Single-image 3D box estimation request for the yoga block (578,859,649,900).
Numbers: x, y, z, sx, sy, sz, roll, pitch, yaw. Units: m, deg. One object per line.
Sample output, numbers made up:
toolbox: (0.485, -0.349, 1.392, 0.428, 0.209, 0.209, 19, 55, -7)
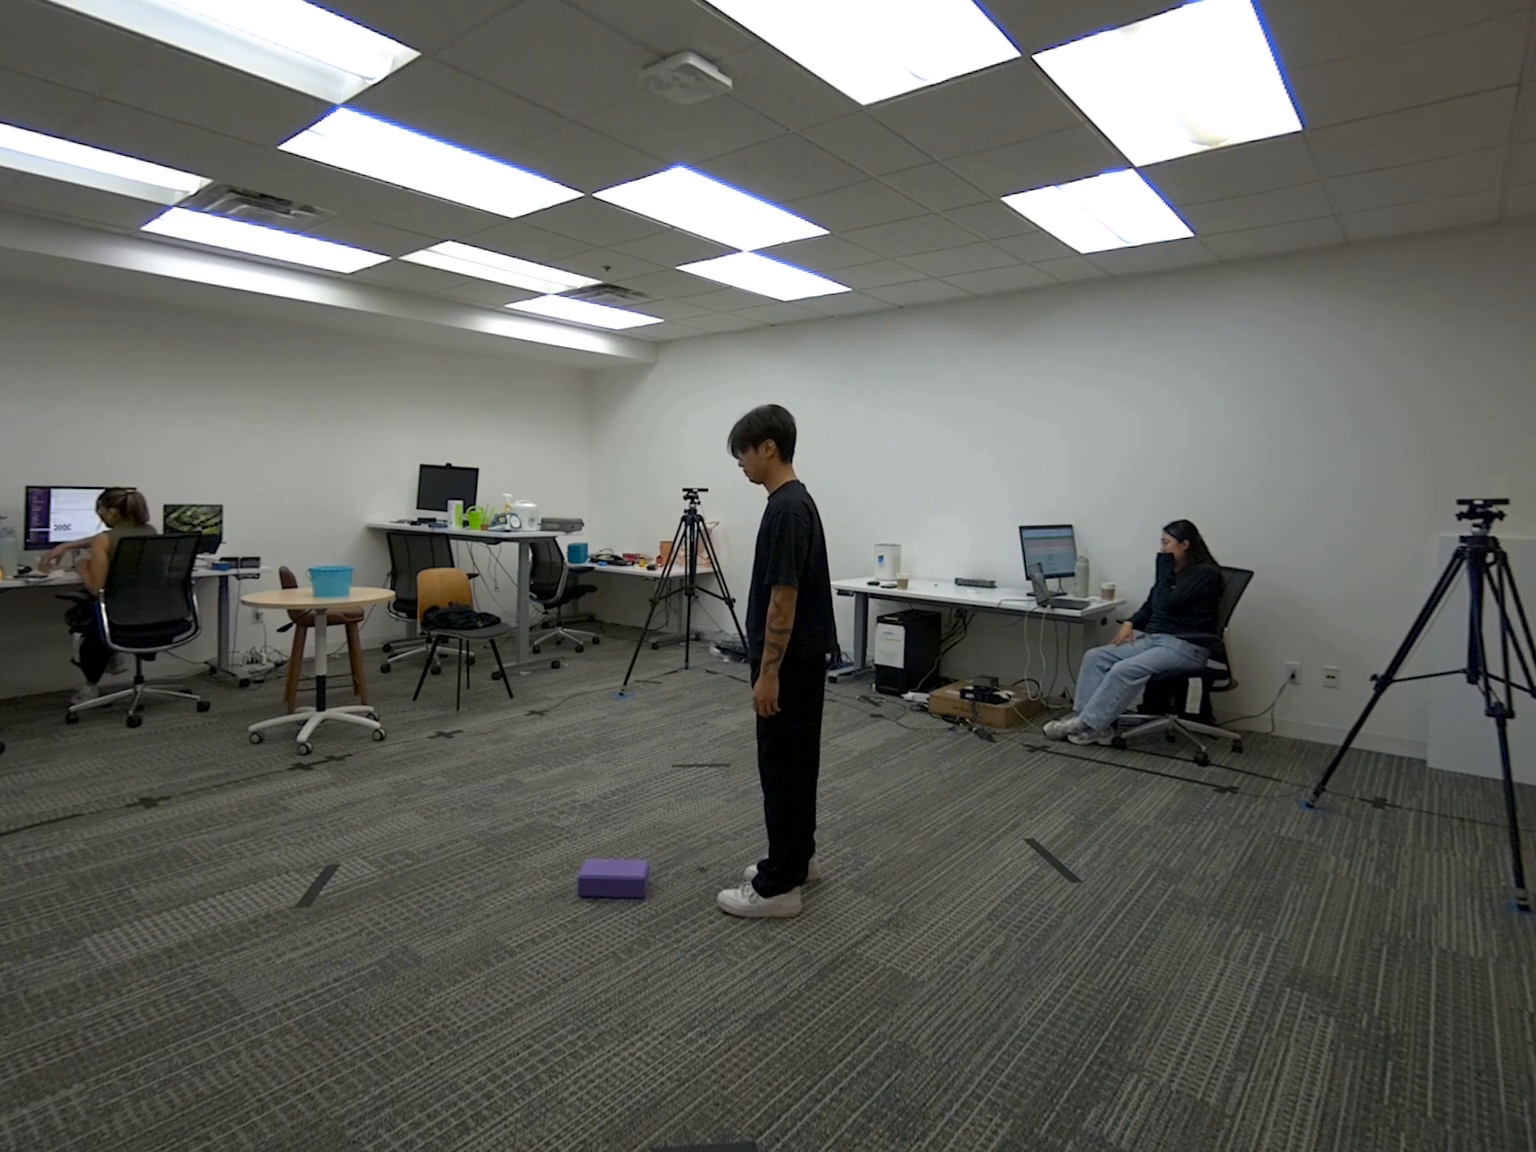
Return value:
yoga block: (-0.540, 1.041, 2.940, 0.230, 0.076, 0.149, 0, 4, 1)
